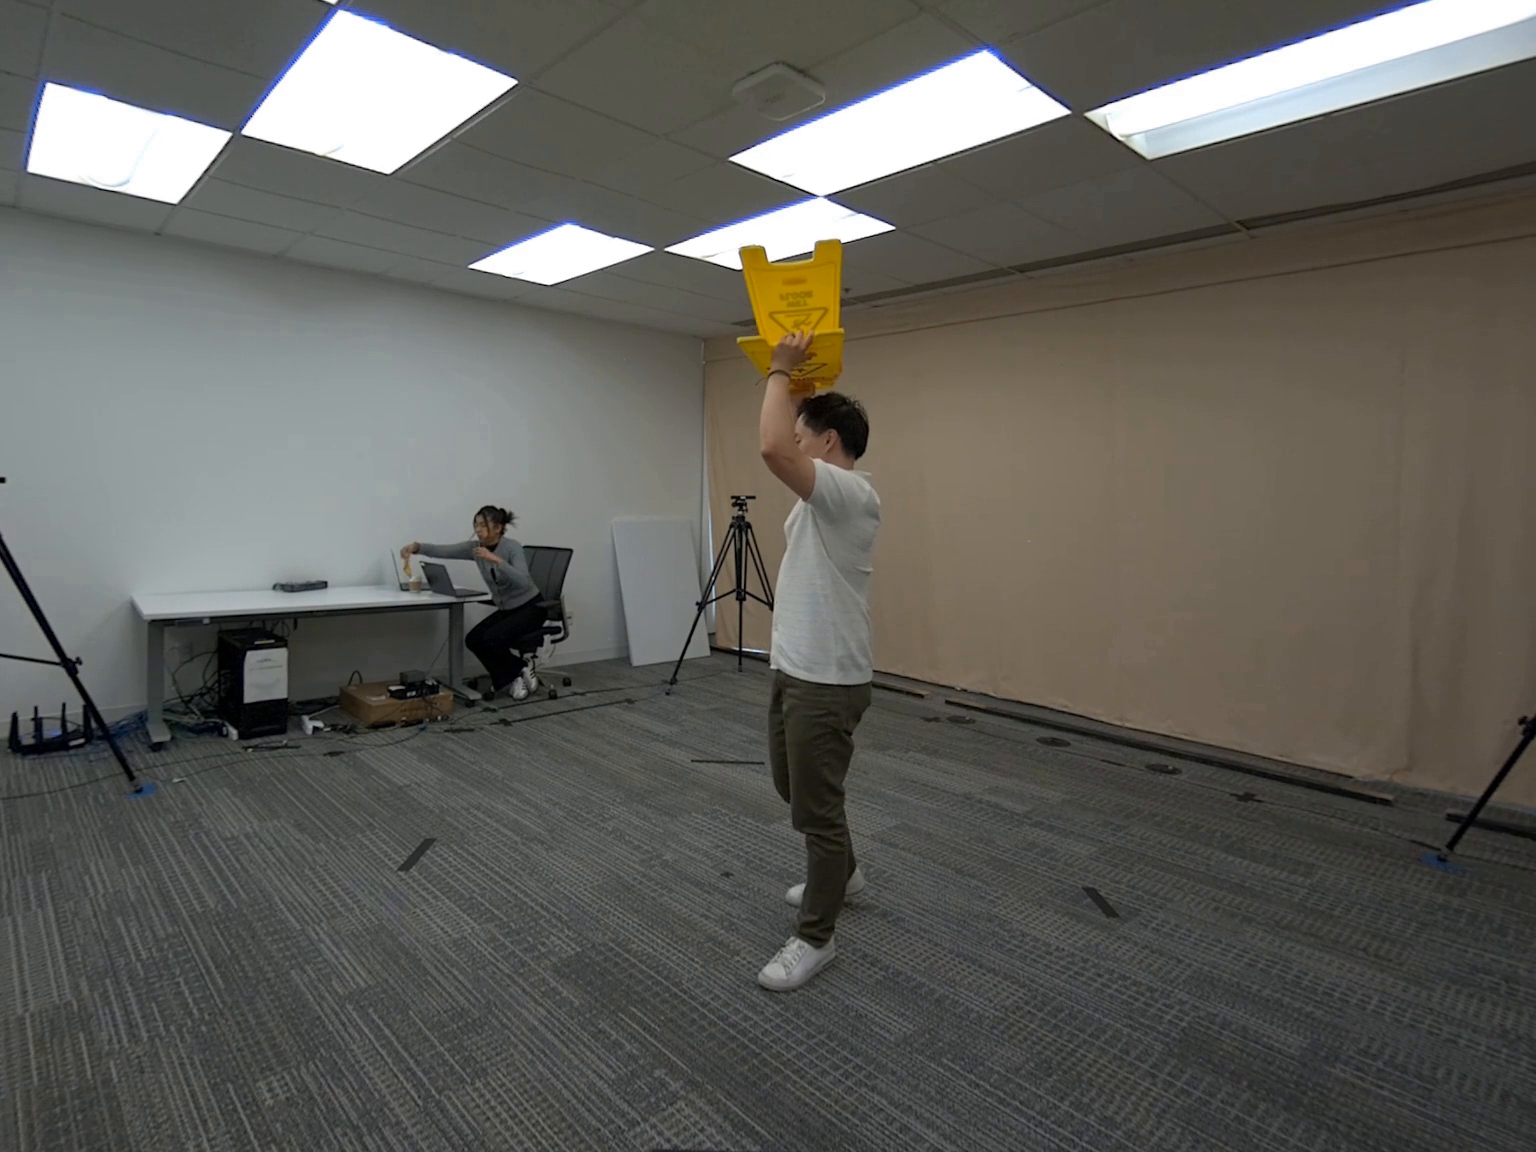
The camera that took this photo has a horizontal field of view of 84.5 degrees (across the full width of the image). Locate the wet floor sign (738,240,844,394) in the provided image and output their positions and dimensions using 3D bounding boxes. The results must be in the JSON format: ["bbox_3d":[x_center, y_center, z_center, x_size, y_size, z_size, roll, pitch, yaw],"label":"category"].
[{"bbox_3d":[0.100,-0.694,2.511,0.284,0.292,0.637,-2,-10,6],"label":"wet floor sign"}]
